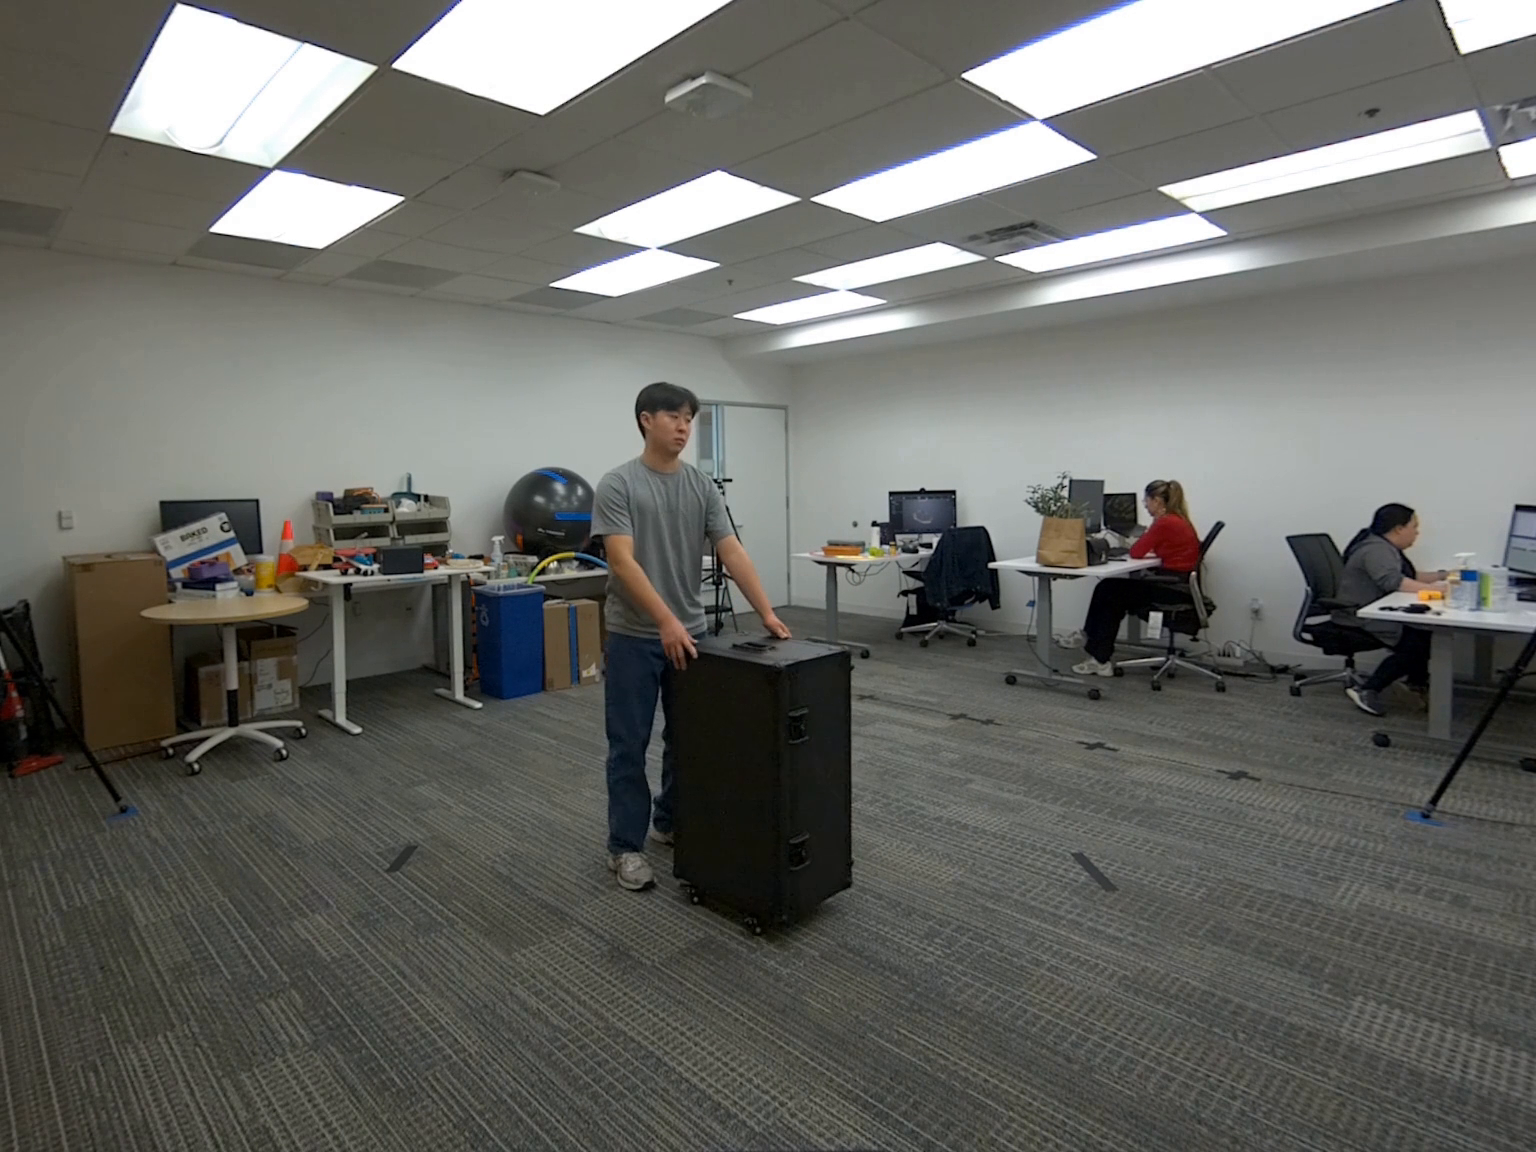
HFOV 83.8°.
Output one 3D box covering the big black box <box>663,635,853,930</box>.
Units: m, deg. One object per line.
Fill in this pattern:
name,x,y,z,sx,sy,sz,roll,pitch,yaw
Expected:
big black box,-0.019,0.659,2.808,0.537,0.859,0.385,3,4,43
